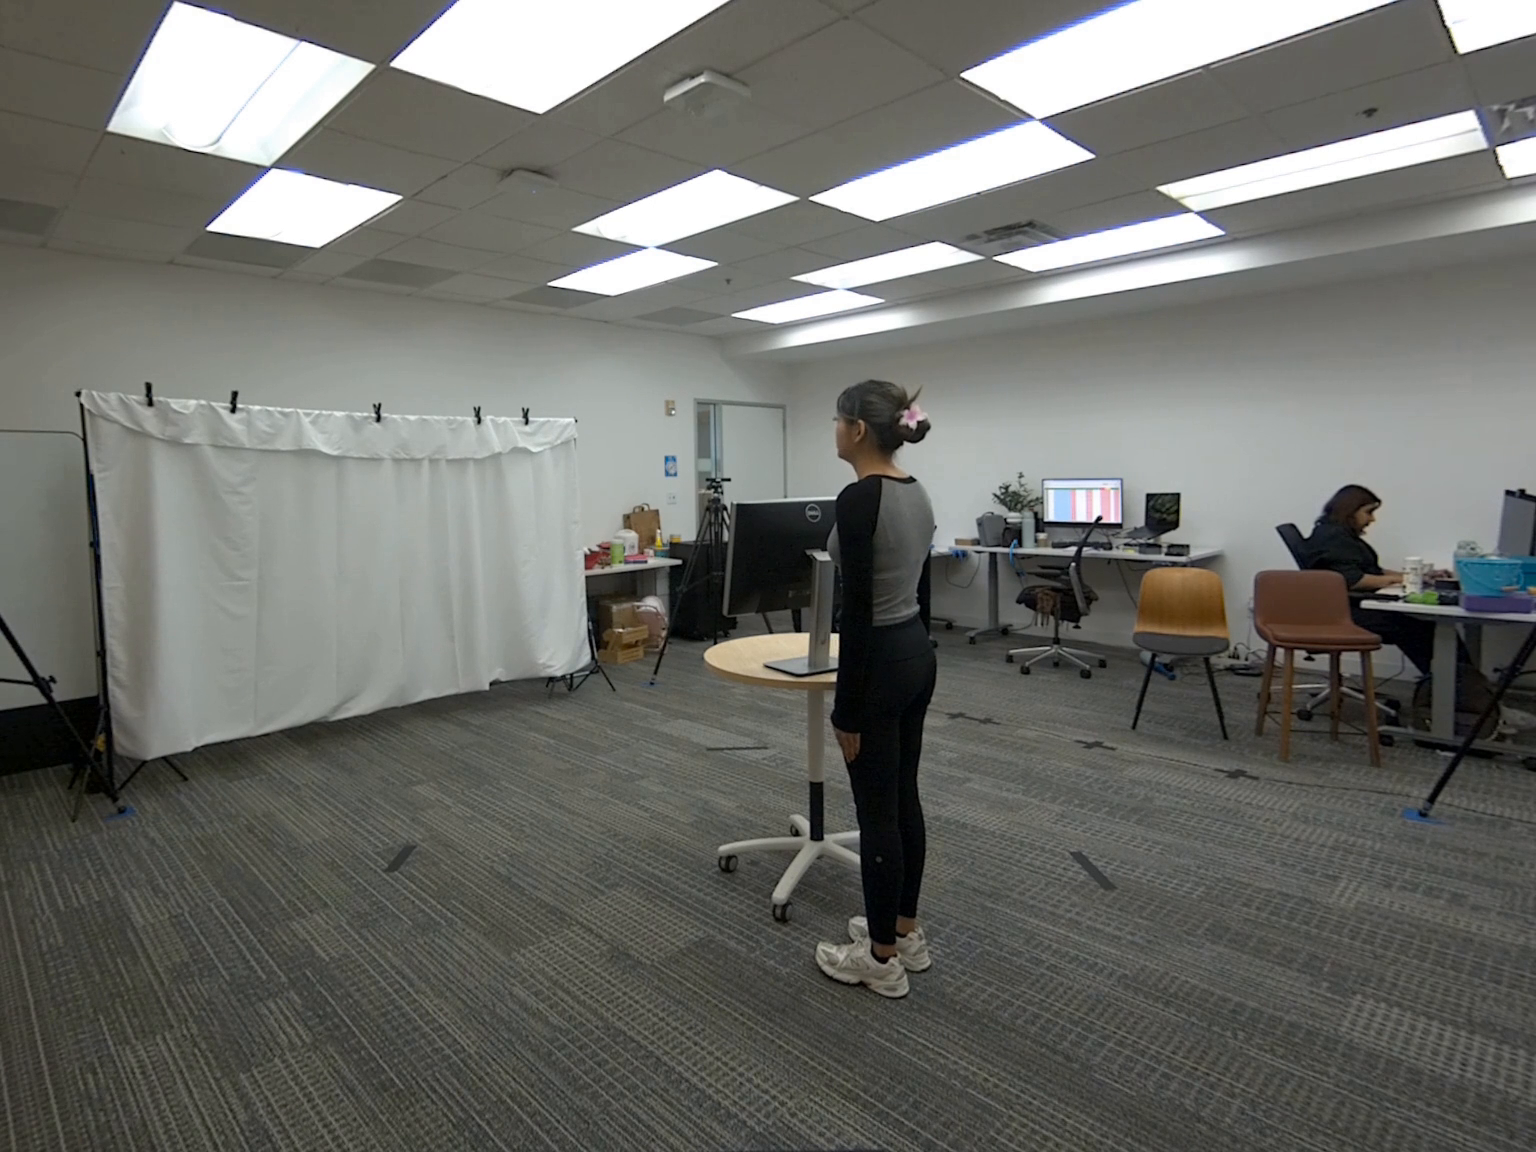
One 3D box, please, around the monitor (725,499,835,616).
[{"bbox_3d":[0.138,0.025,2.719,0.526,0.521,0.192,-4,4,-33],"label":"monitor"}]
